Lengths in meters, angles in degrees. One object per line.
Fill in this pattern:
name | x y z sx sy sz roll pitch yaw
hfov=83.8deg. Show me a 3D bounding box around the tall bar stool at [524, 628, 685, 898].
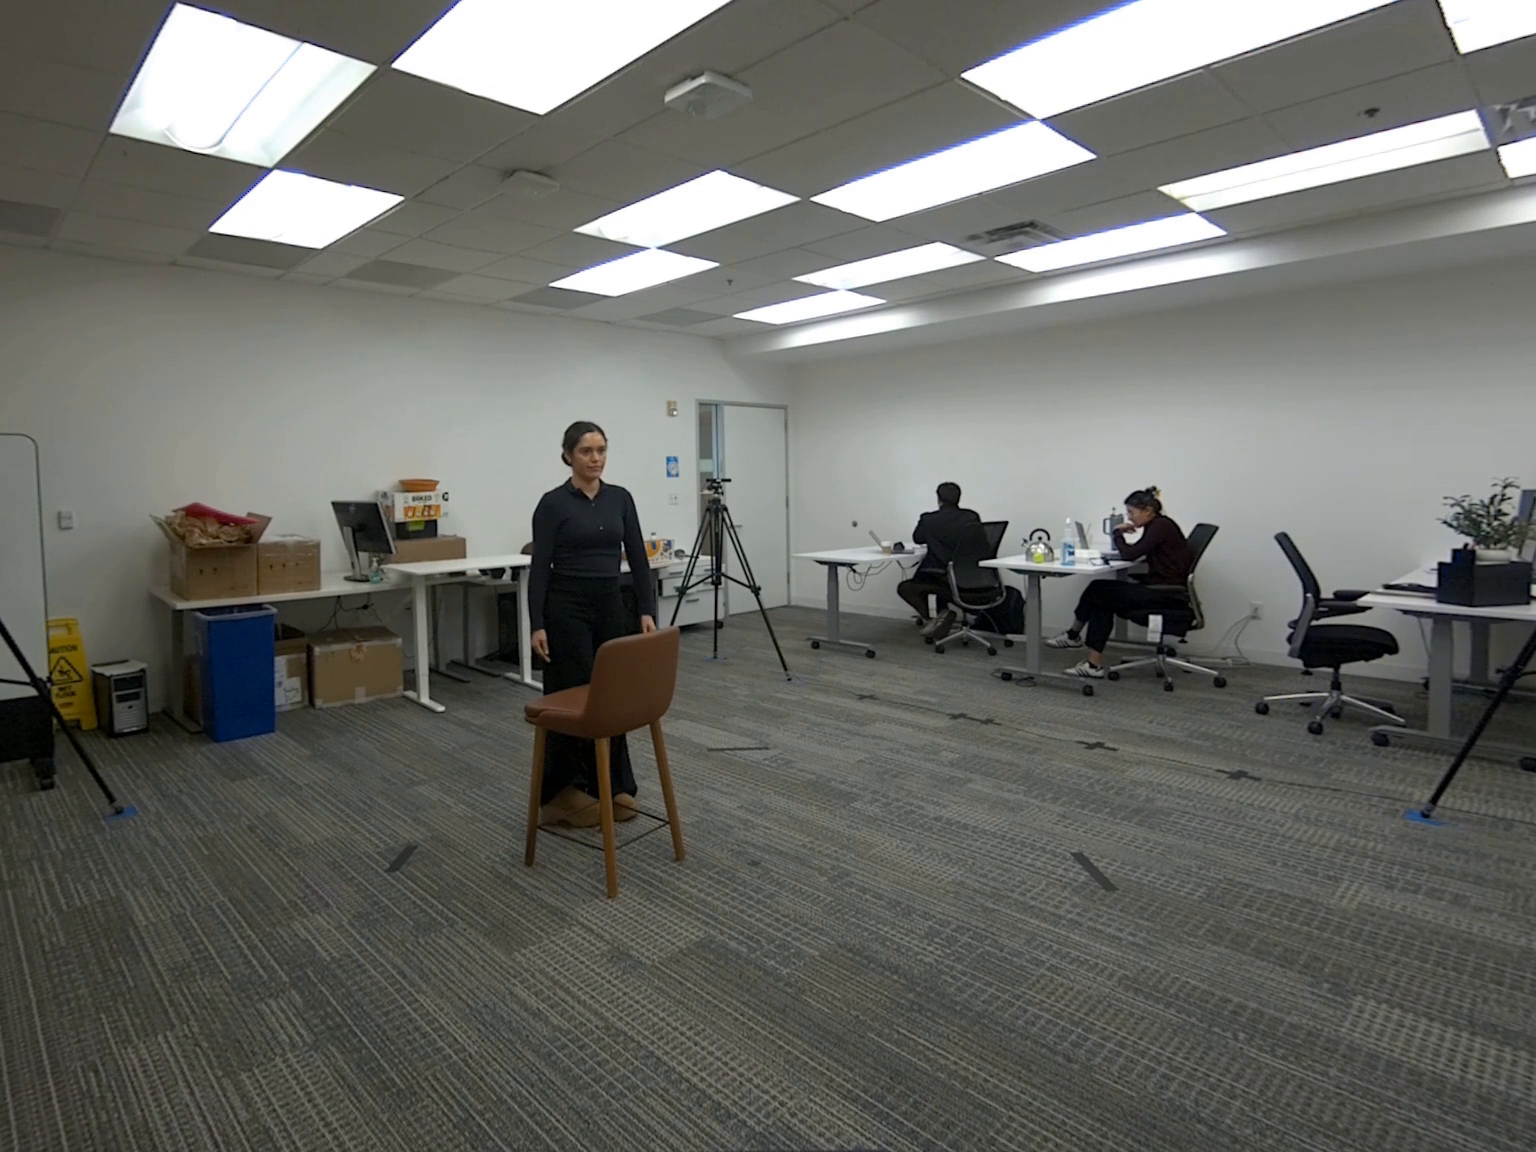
tall bar stool | -0.599 0.618 3.114 0.481 0.886 0.445 4 6 37
